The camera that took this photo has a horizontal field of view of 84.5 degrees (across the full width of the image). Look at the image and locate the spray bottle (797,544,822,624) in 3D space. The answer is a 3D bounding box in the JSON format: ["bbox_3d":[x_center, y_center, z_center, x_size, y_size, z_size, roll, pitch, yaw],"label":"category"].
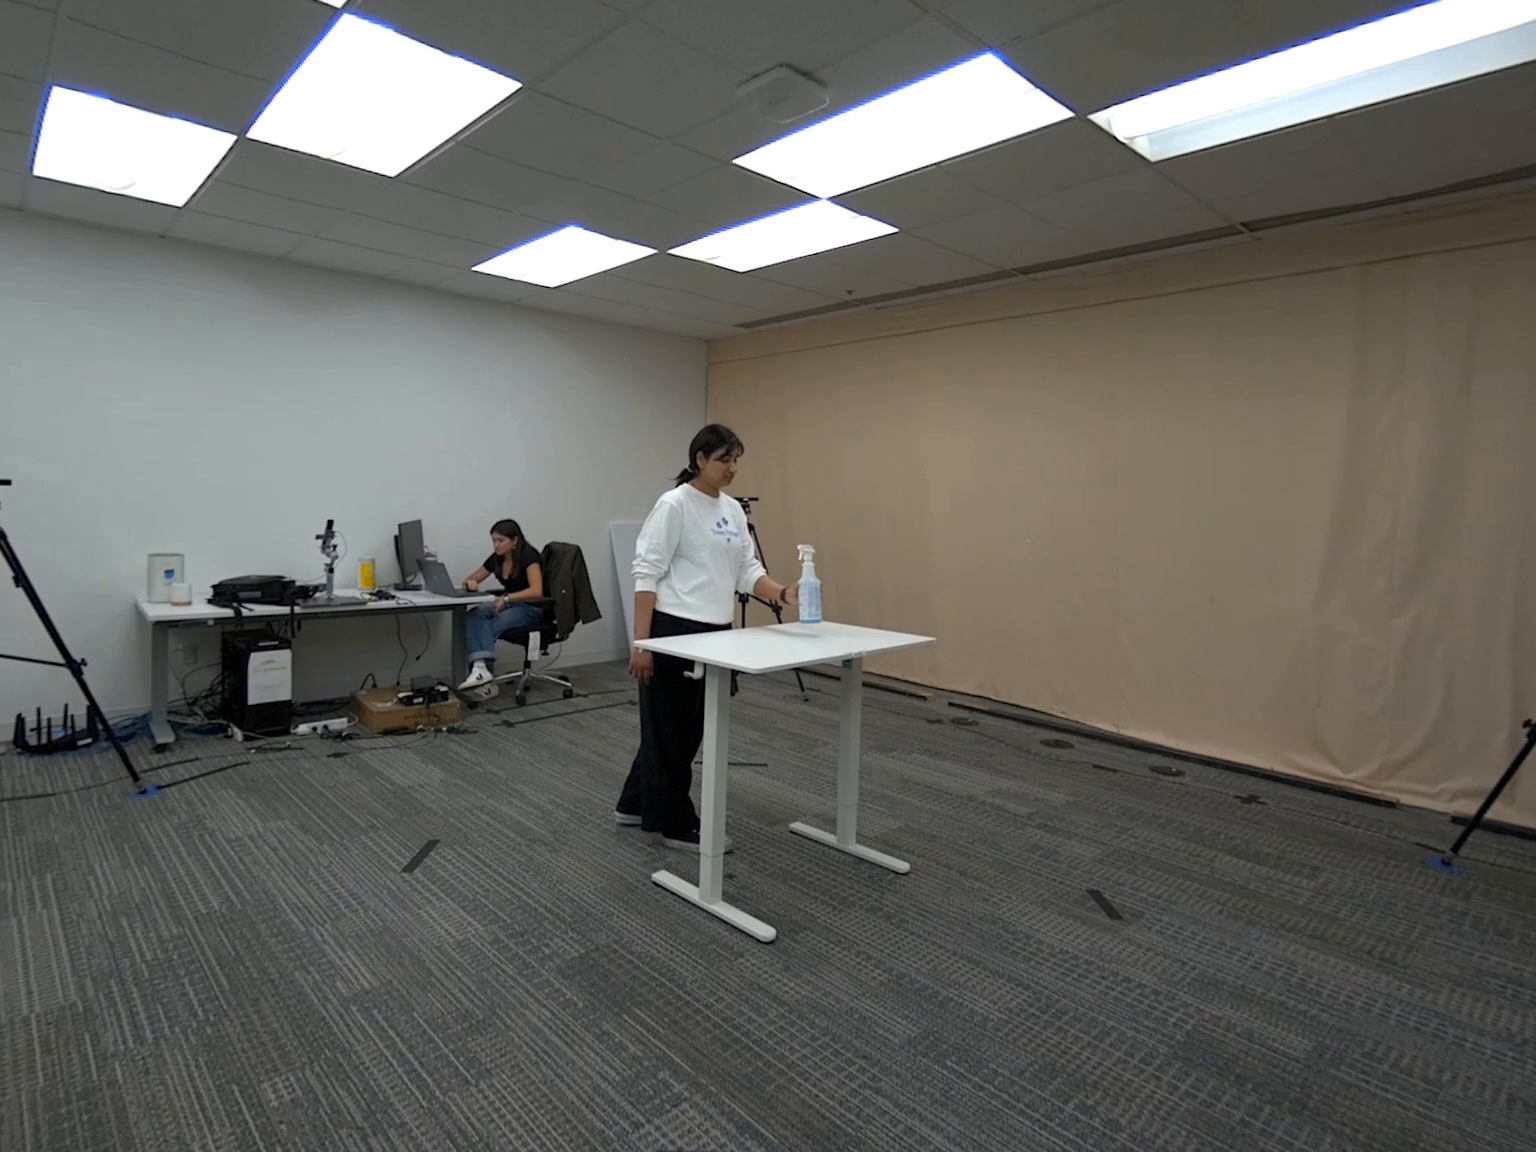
[{"bbox_3d":[0.144,0.028,3.187,0.089,0.297,0.088,-2,0,-19],"label":"spray bottle"}]
